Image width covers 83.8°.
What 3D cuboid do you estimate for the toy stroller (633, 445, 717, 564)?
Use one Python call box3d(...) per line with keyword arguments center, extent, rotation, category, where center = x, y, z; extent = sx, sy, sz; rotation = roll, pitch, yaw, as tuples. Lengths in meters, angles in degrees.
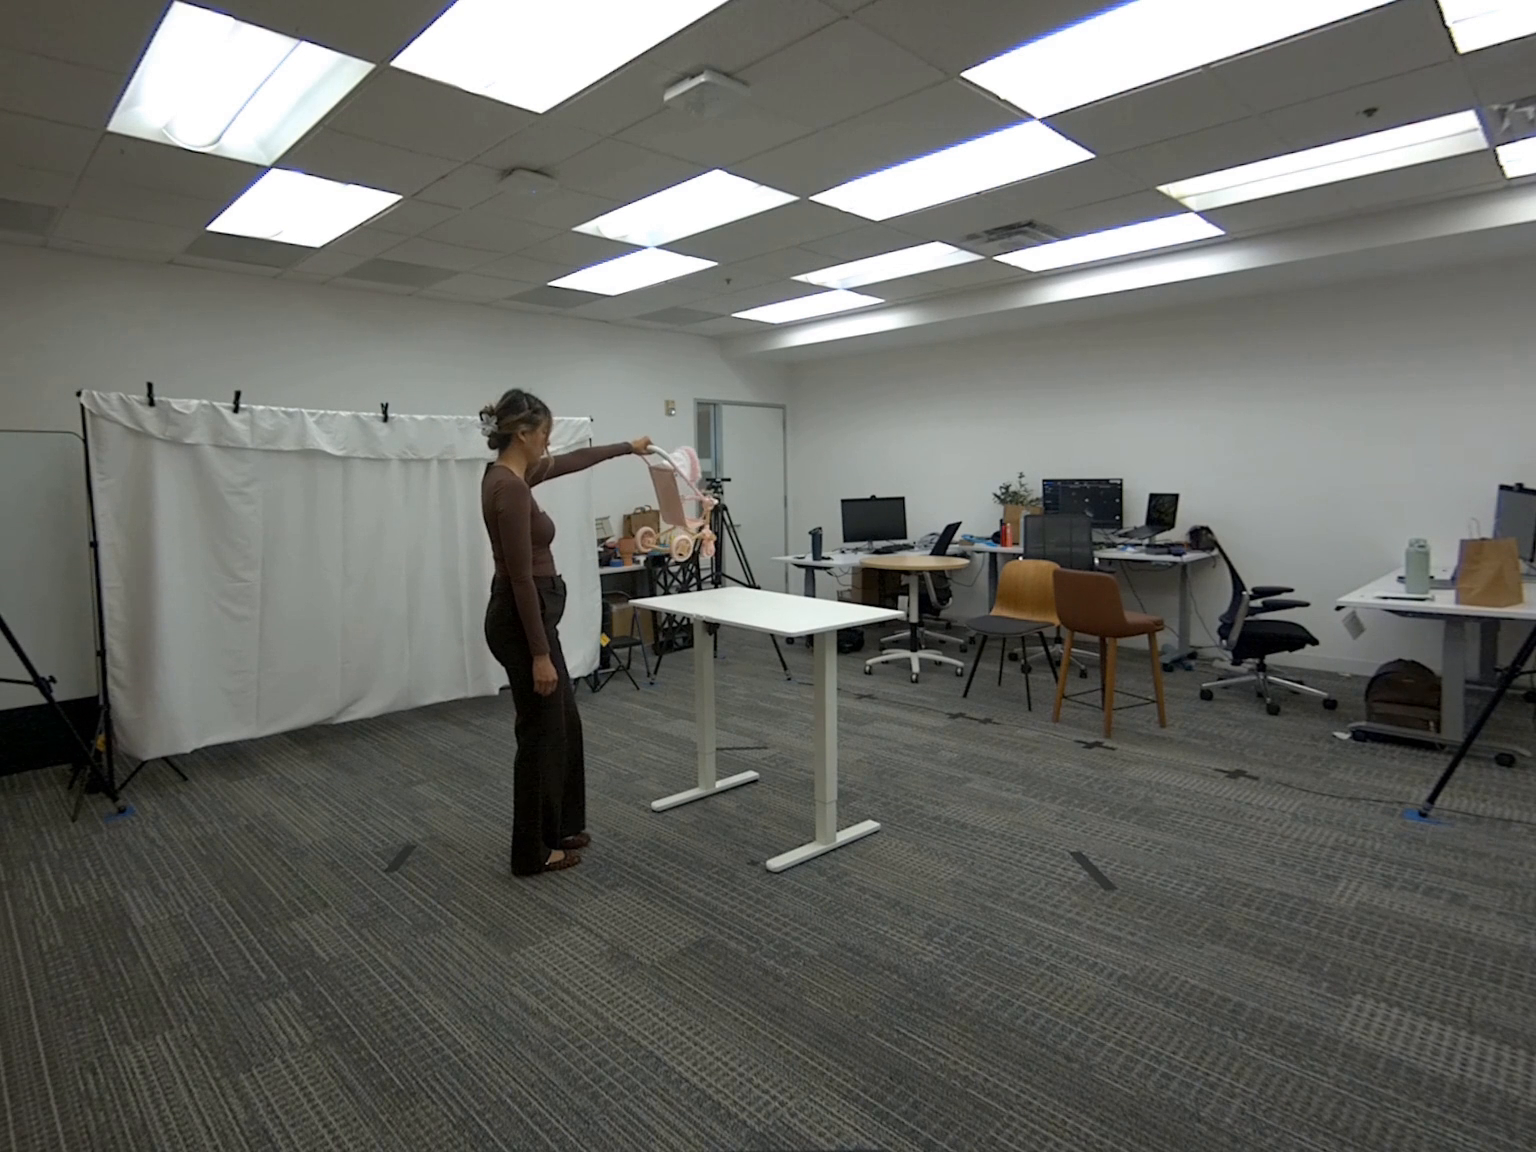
box3d(center=(-0.374, -0.306, 3.638), extent=(0.334, 0.529, 0.291), rotation=(-12, 16, -37), category="toy stroller")
